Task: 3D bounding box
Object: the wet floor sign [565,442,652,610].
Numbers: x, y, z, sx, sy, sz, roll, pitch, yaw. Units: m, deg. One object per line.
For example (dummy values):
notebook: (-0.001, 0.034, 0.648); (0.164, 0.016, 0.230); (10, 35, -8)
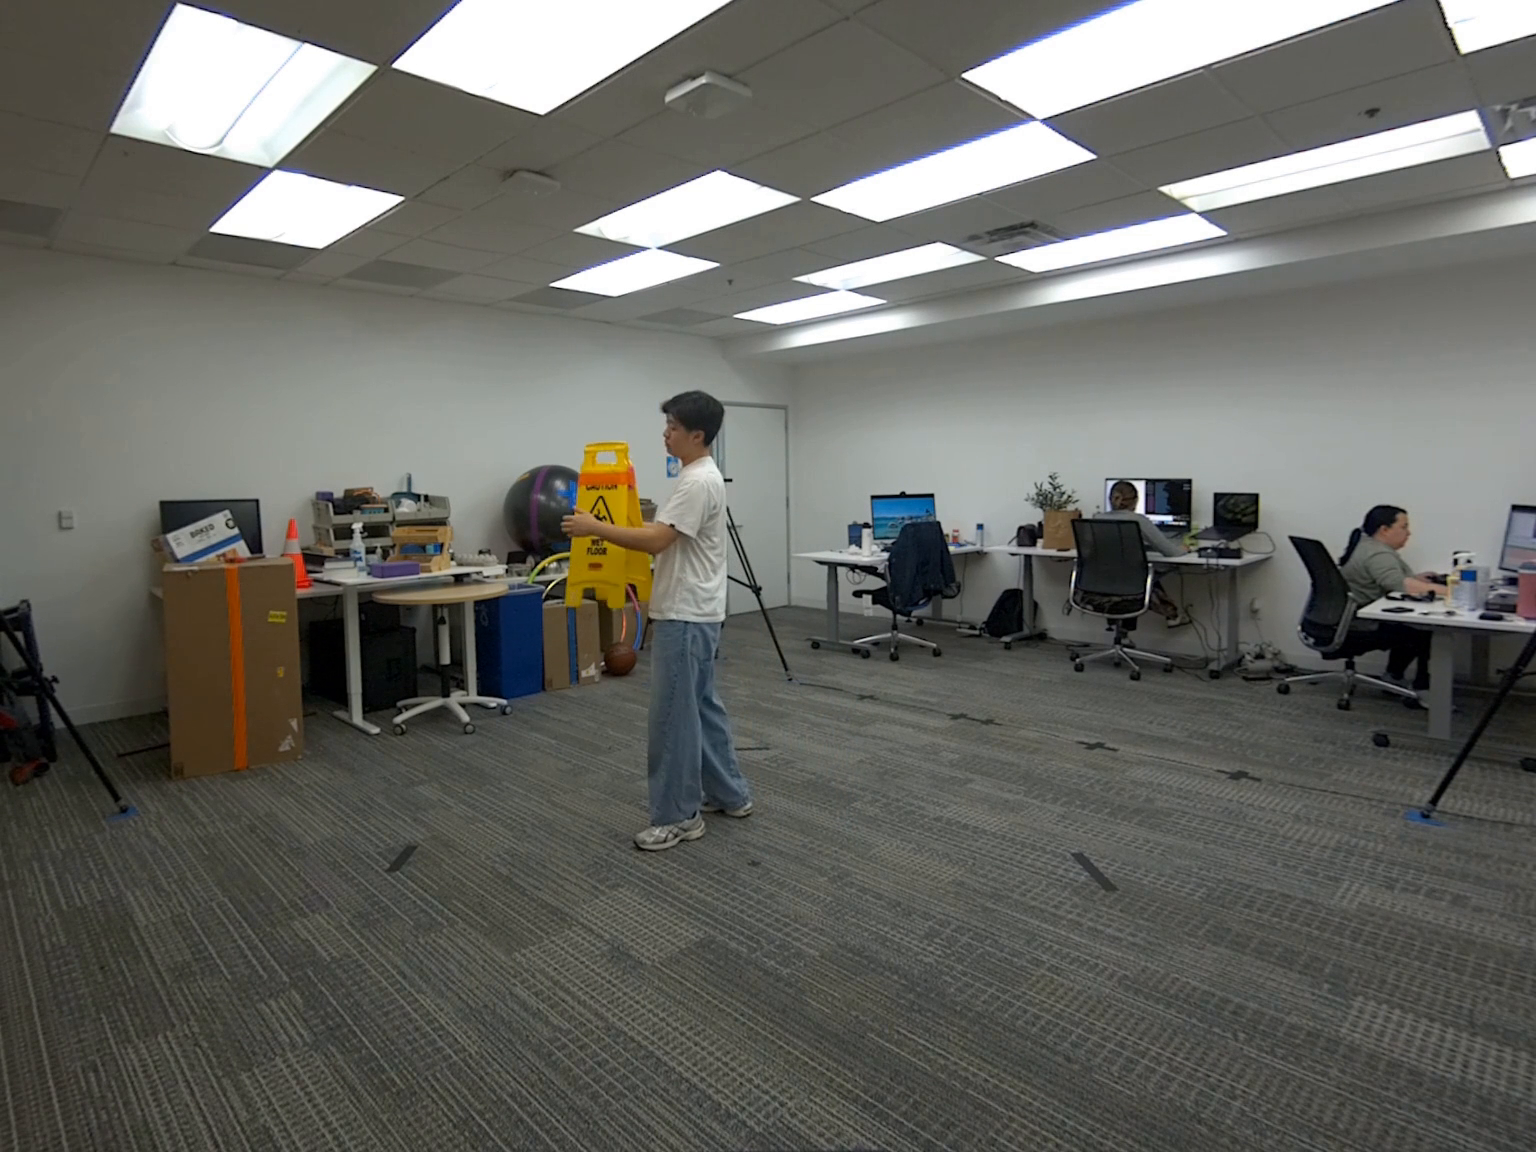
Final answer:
wet floor sign: (-0.641, -0.210, 3.443); (0.288, 0.645, 0.284); (0, 3, 23)
